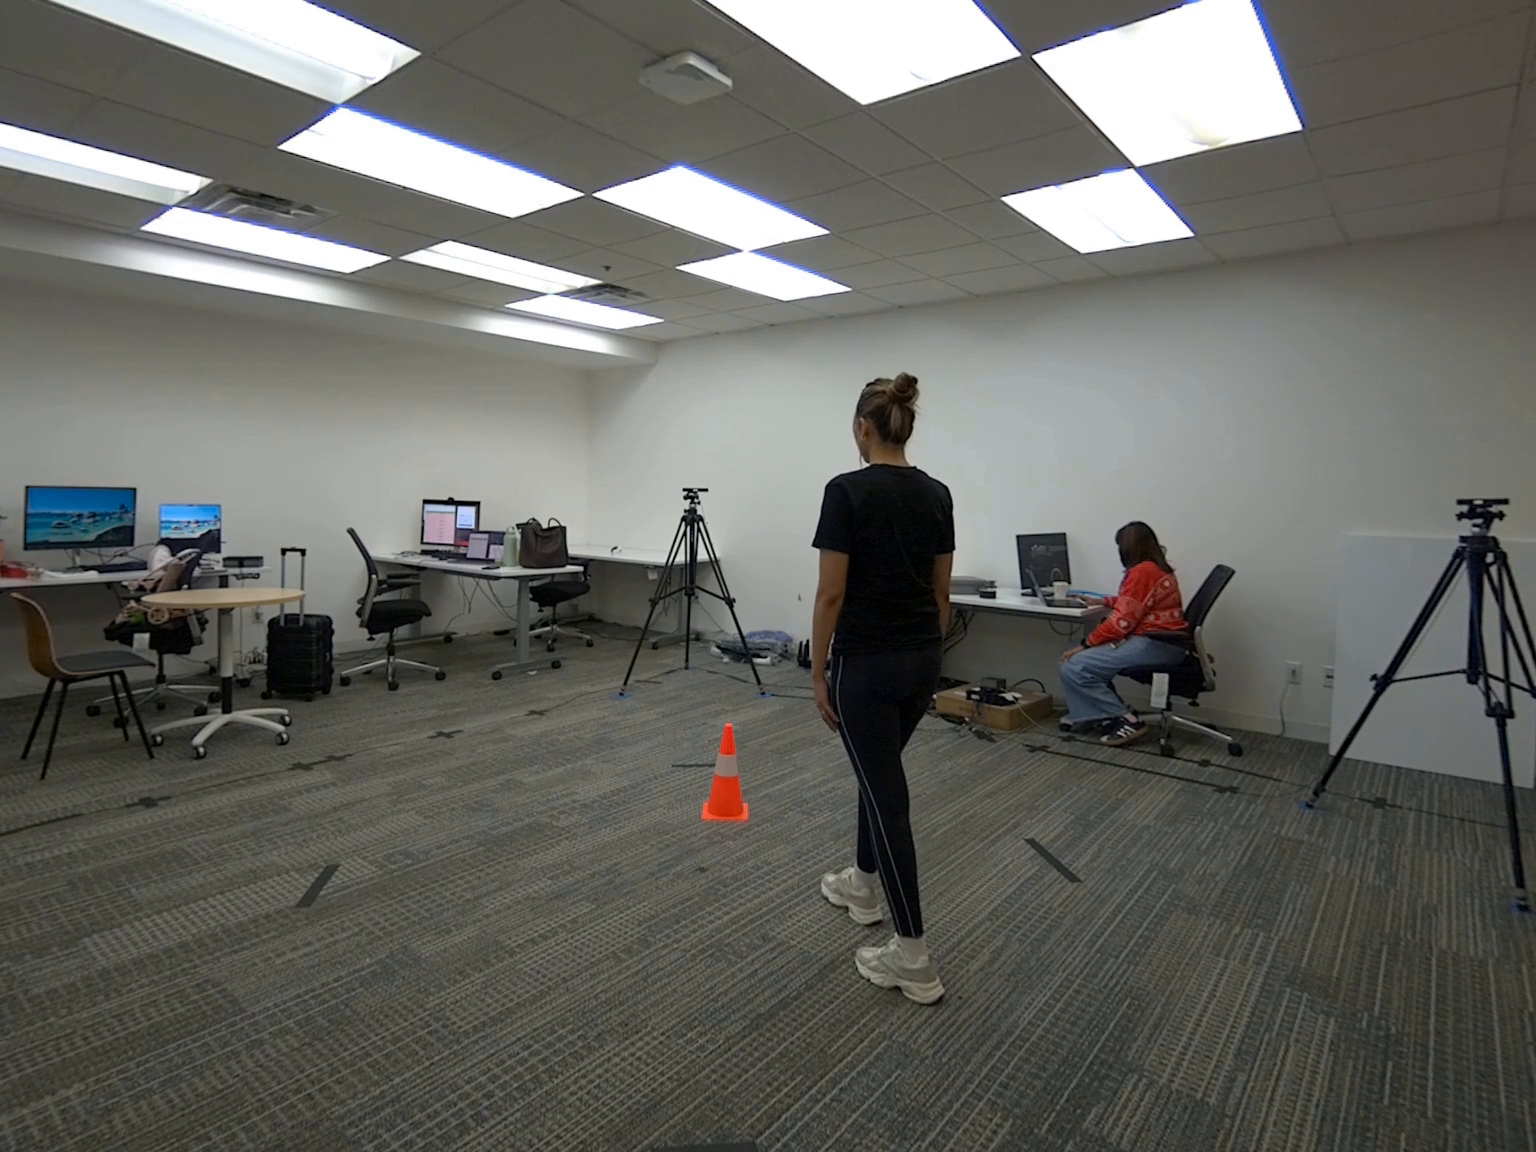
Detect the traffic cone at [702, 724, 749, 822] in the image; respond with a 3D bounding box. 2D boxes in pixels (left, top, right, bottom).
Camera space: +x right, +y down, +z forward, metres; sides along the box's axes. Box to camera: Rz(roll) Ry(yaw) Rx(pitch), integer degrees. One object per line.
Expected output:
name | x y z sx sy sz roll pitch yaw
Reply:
traffic cone | -0.185 0.830 3.673 0.205 0.382 0.204 2 5 1
